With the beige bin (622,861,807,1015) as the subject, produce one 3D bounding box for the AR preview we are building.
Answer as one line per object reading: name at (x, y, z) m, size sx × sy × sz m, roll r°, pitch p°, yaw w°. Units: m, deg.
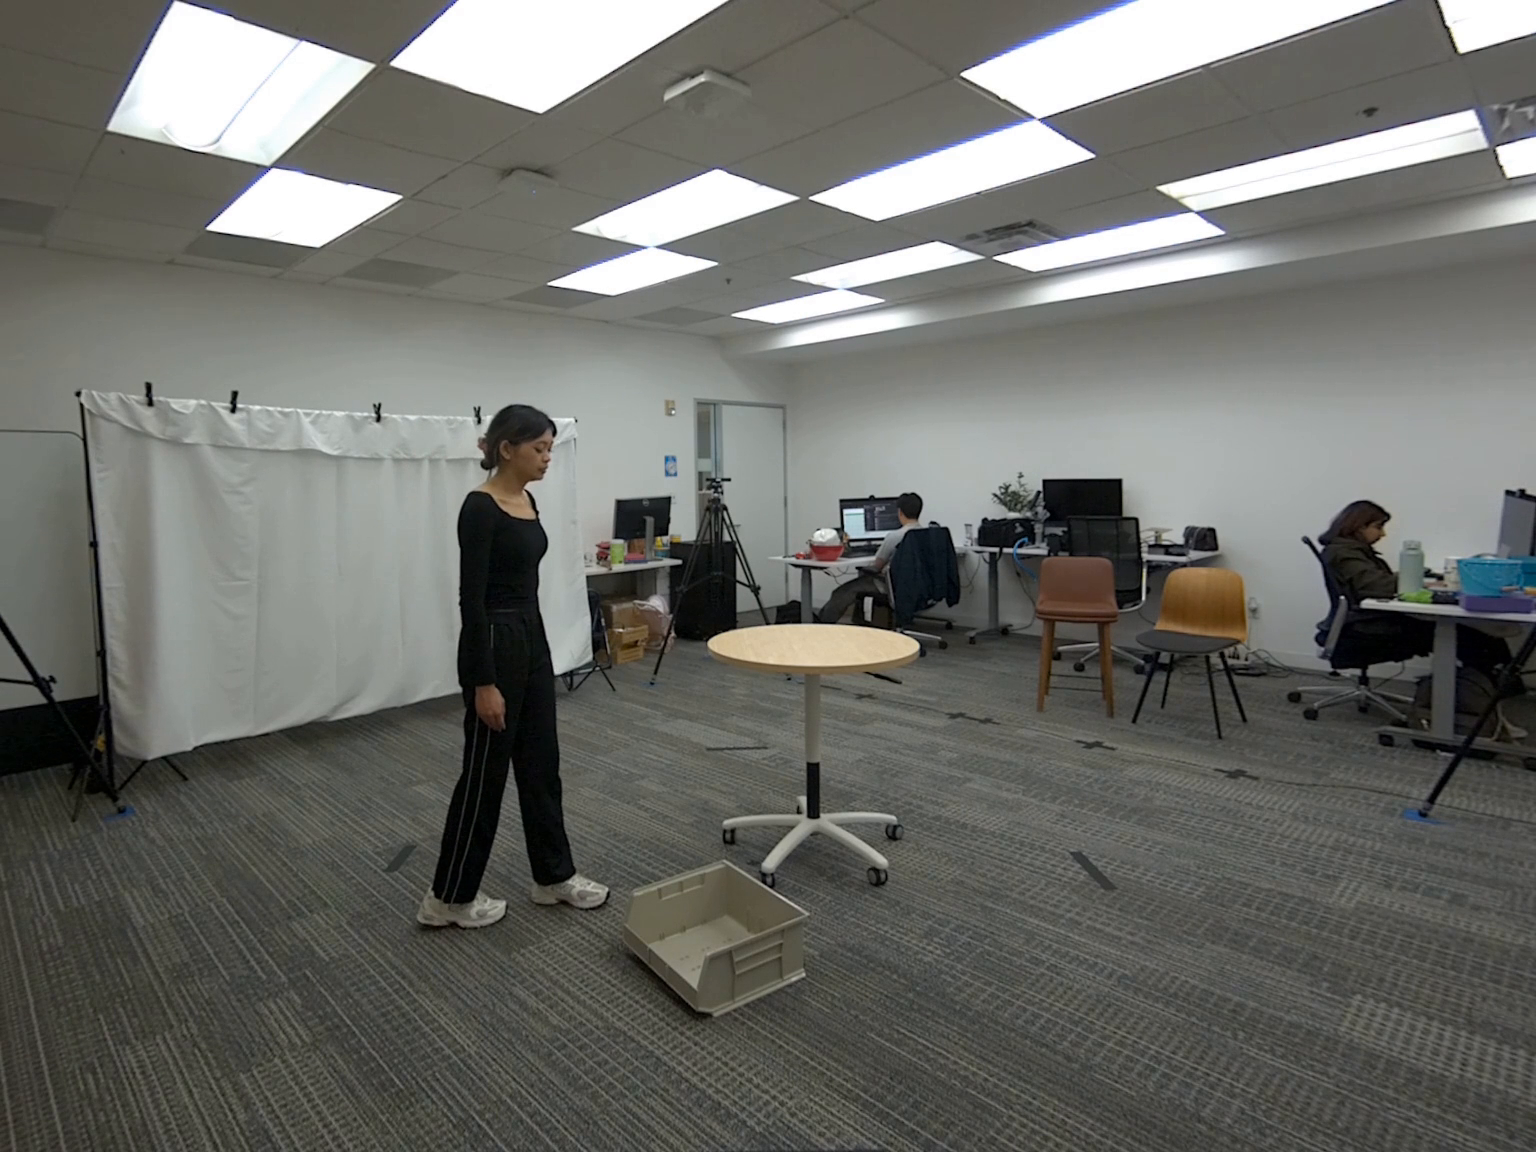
beige bin at (-0.154, 1.033, 2.456) m, size 0.368 × 0.188 × 0.435 m, roll -4°, pitch 6°, yaw -36°
